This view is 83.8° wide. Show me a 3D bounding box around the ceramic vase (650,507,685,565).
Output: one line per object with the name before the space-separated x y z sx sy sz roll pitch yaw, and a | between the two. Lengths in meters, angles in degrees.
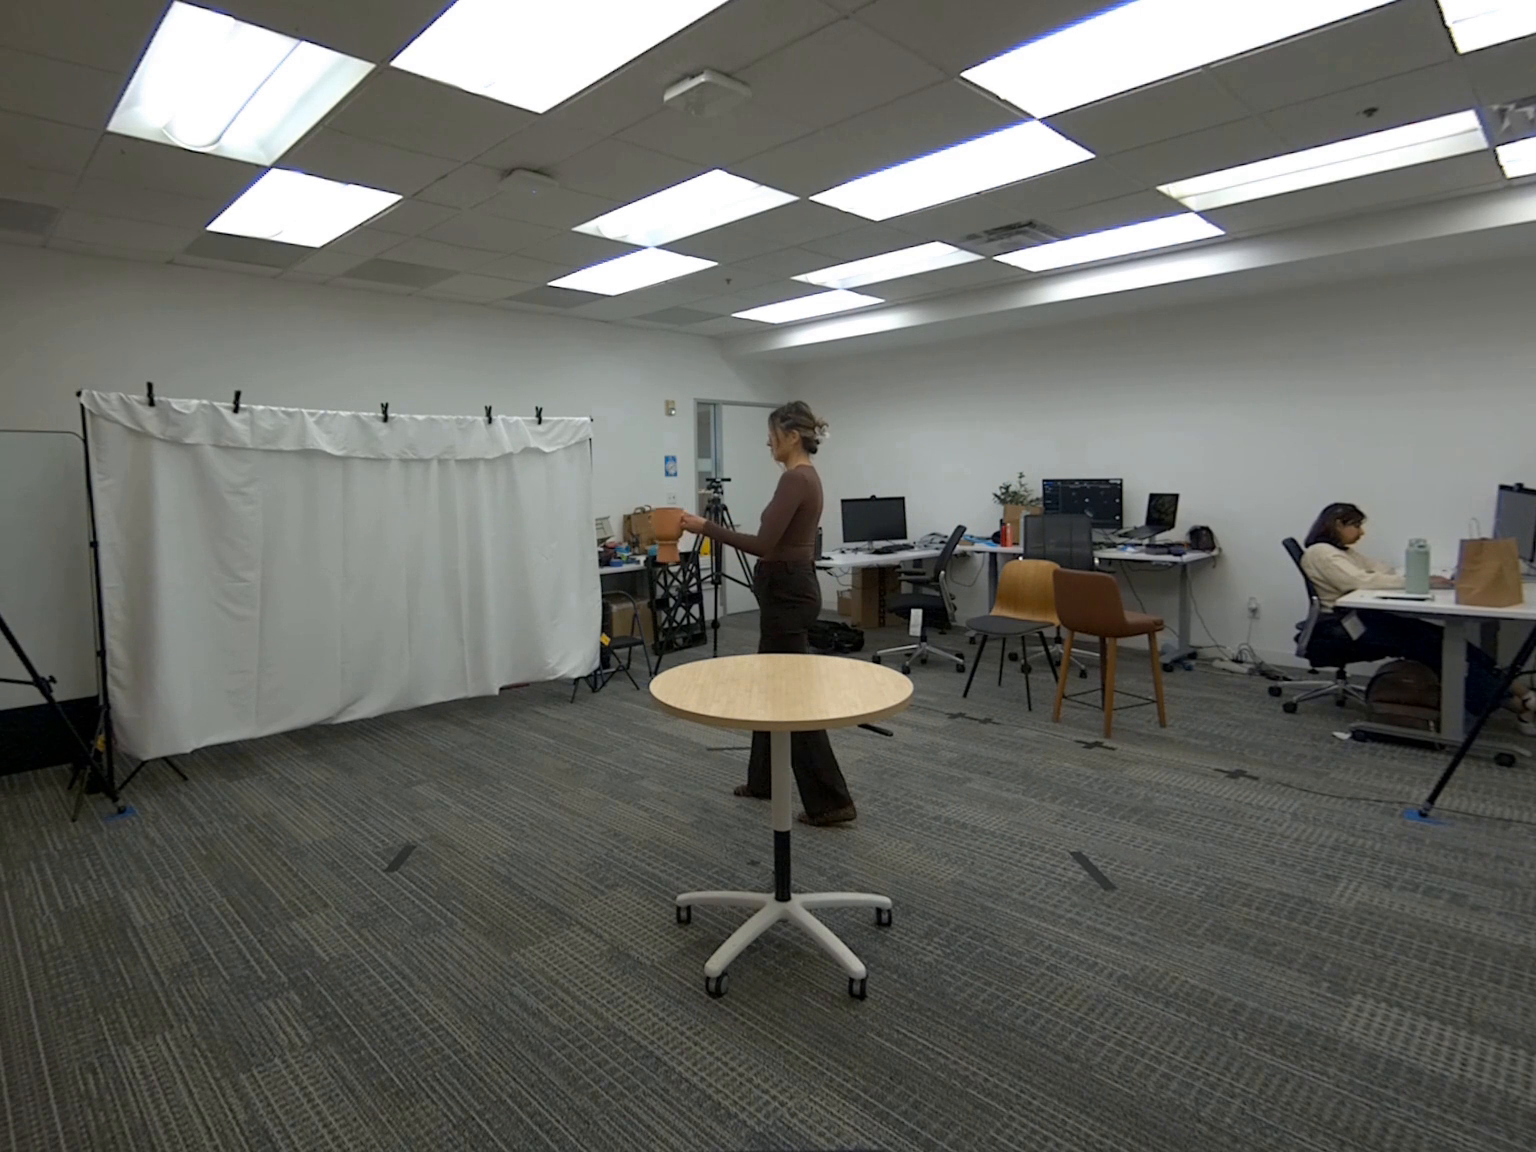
ceramic vase | -0.407 -0.171 3.540 0.132 0.219 0.163 -3 5 -27
